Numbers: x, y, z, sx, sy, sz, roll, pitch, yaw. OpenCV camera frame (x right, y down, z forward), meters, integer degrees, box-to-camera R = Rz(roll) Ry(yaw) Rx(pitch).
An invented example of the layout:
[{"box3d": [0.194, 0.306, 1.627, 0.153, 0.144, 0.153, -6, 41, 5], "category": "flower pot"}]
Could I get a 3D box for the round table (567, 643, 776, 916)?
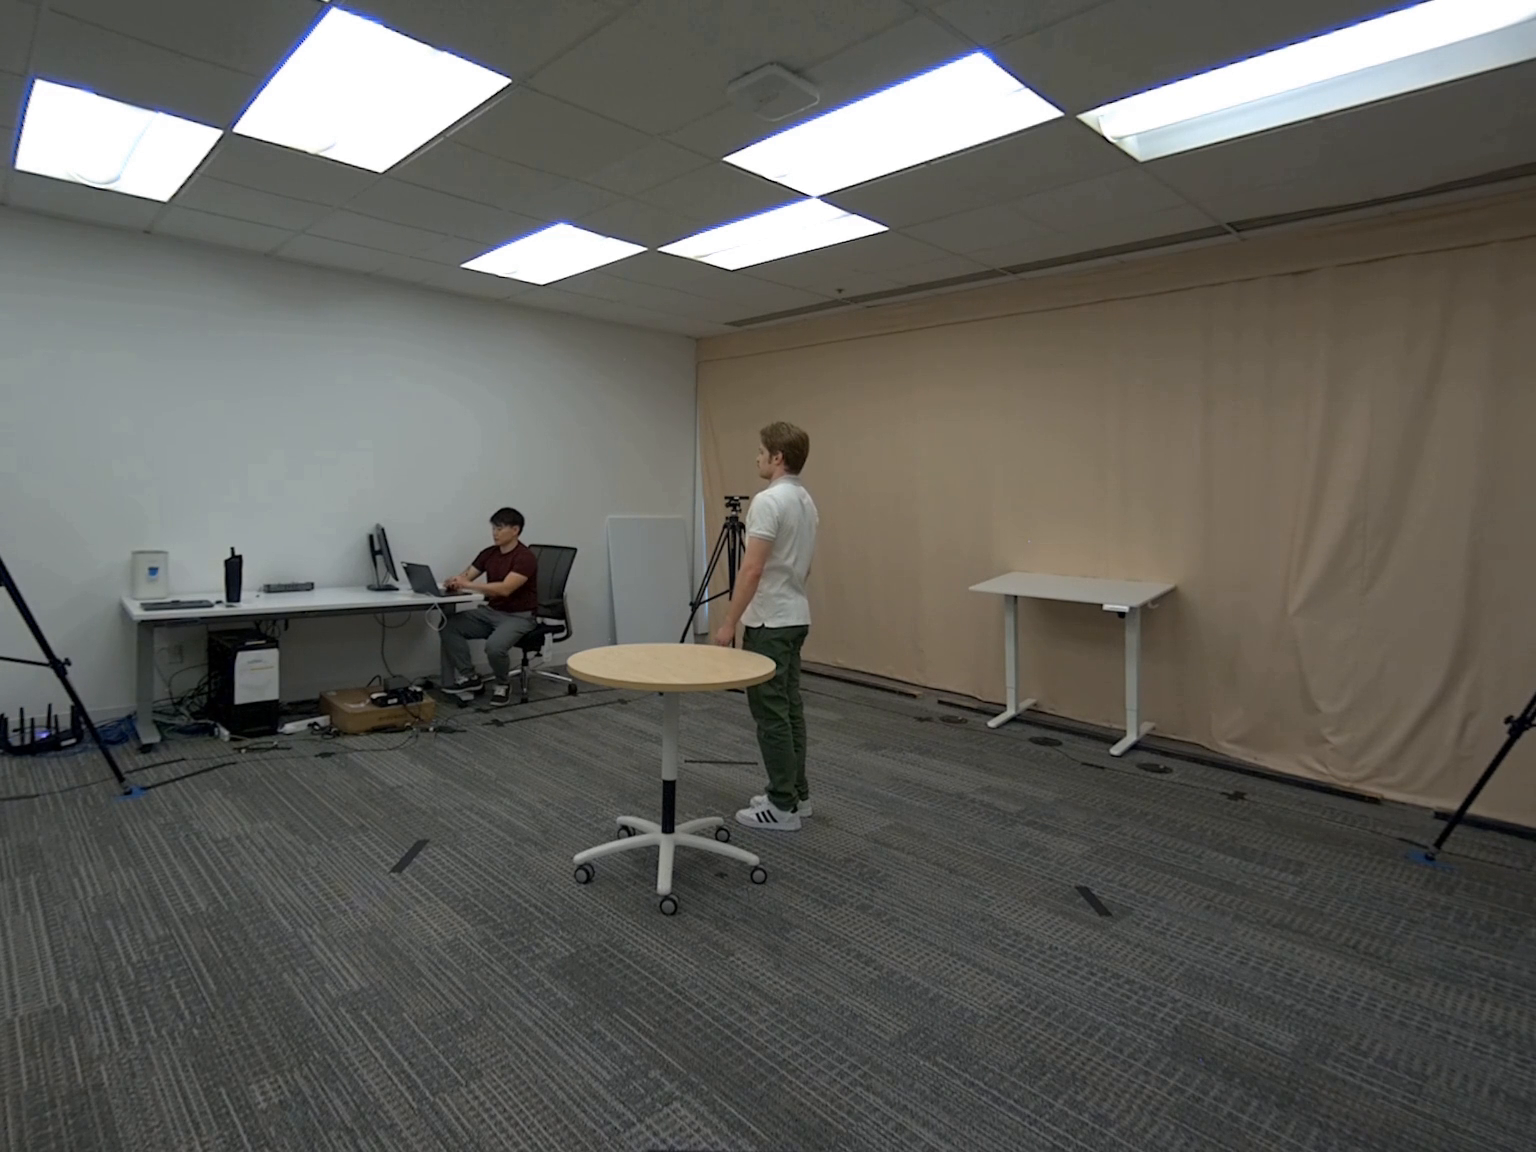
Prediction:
[{"box3d": [-0.382, 0.703, 3.125, 0.784, 0.785, 0.787, 2, 4, -1], "category": "round table"}]
